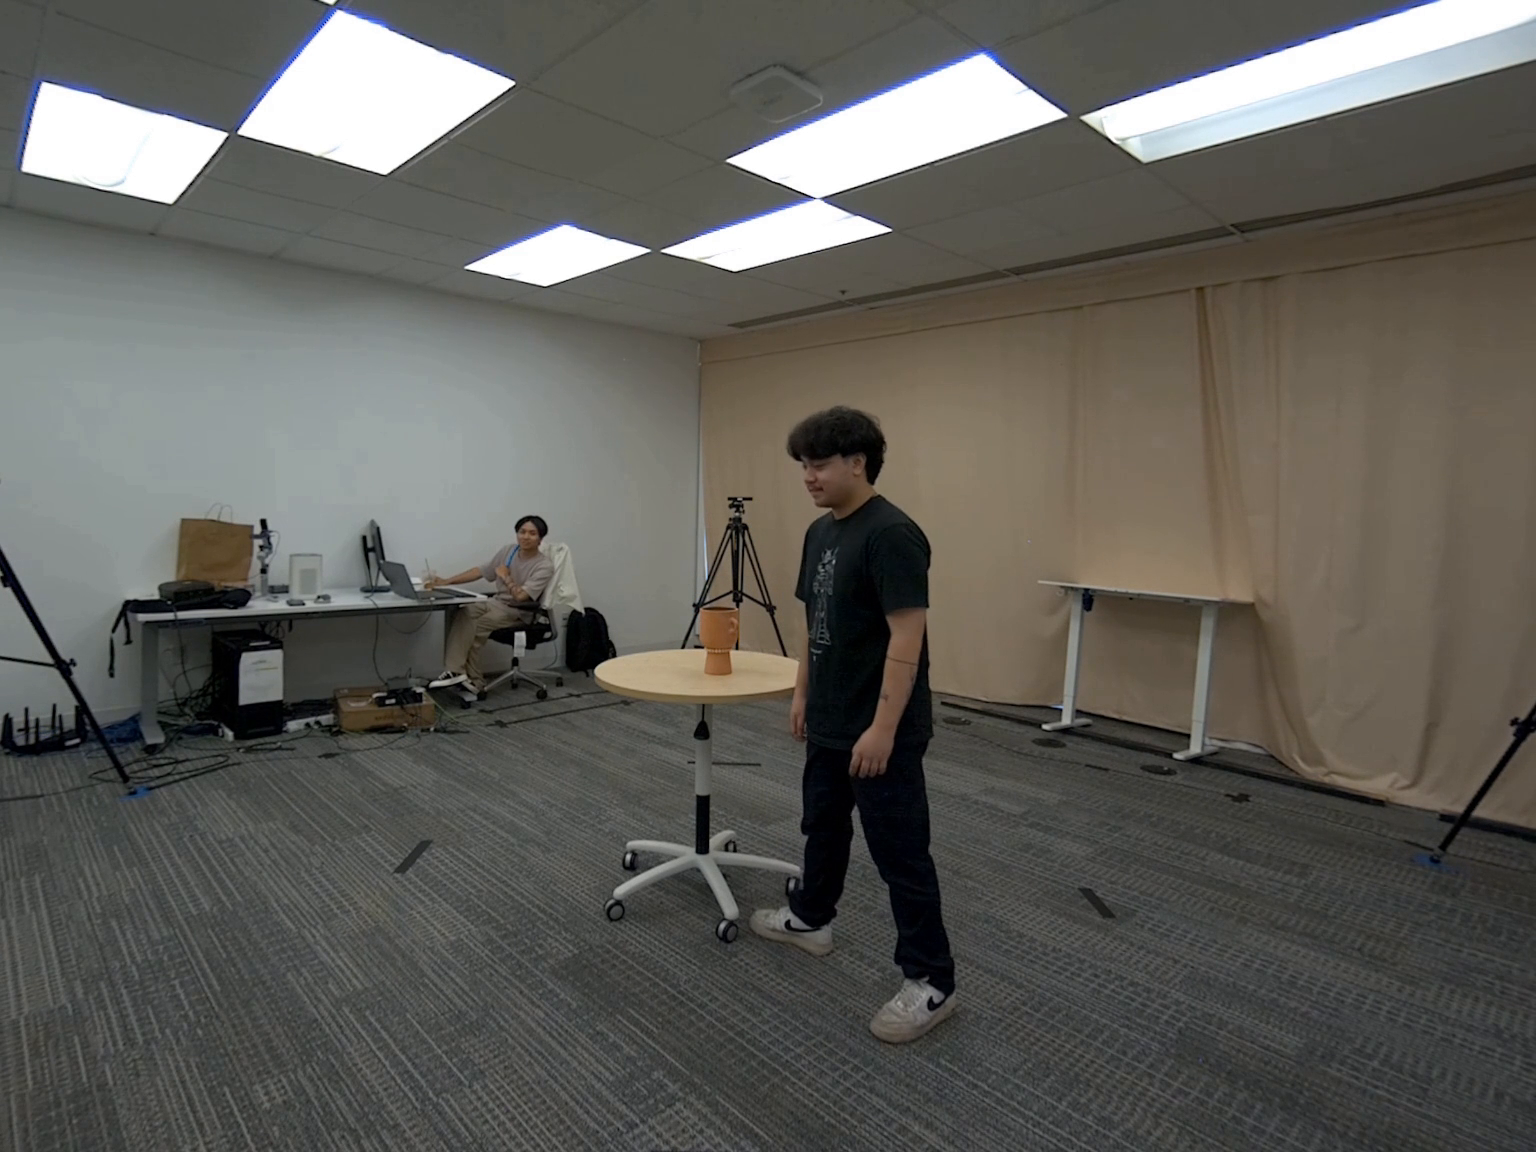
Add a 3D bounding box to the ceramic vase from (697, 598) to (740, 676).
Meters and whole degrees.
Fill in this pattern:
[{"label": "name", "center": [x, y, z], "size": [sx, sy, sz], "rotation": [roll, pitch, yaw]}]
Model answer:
[{"label": "ceramic vase", "center": [-0.172, 0.225, 2.883], "size": [0.134, 0.219, 0.160], "rotation": [2, 5, -3]}]
